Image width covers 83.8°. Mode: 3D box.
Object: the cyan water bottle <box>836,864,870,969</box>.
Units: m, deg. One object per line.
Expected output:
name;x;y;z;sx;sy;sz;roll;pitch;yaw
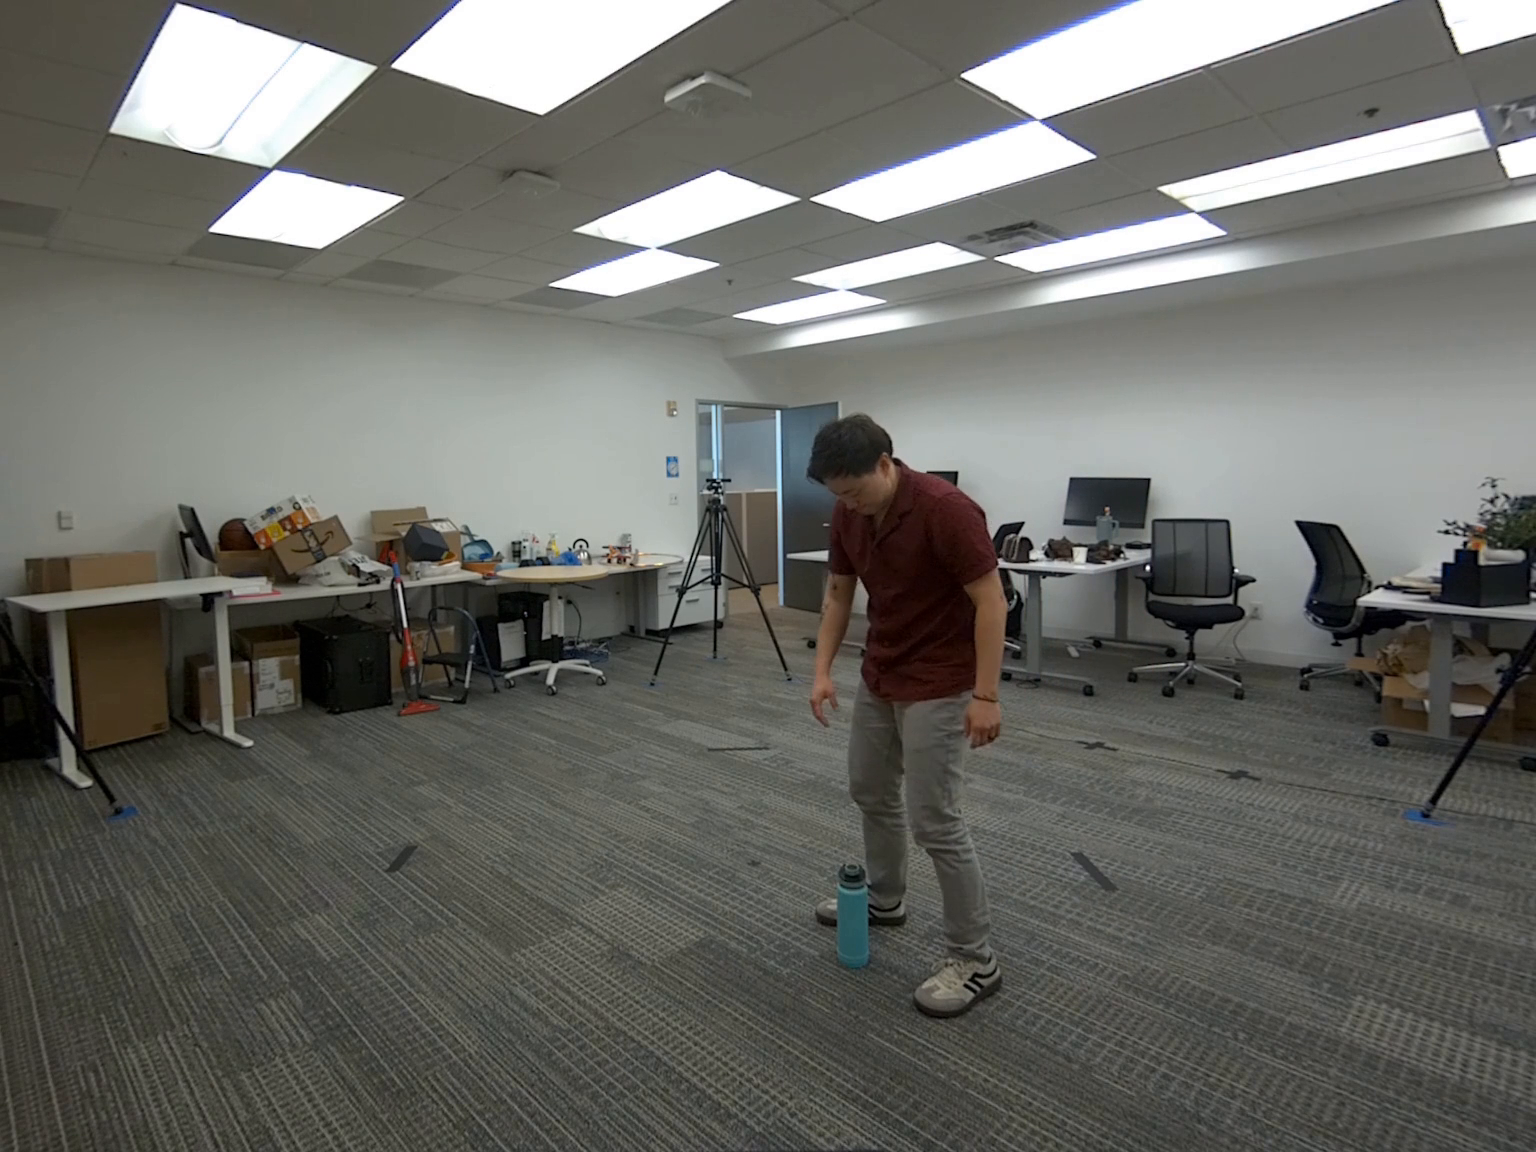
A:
cyan water bottle;0.251;0.977;2.470;0.092;0.282;0.093;0;6;-2
